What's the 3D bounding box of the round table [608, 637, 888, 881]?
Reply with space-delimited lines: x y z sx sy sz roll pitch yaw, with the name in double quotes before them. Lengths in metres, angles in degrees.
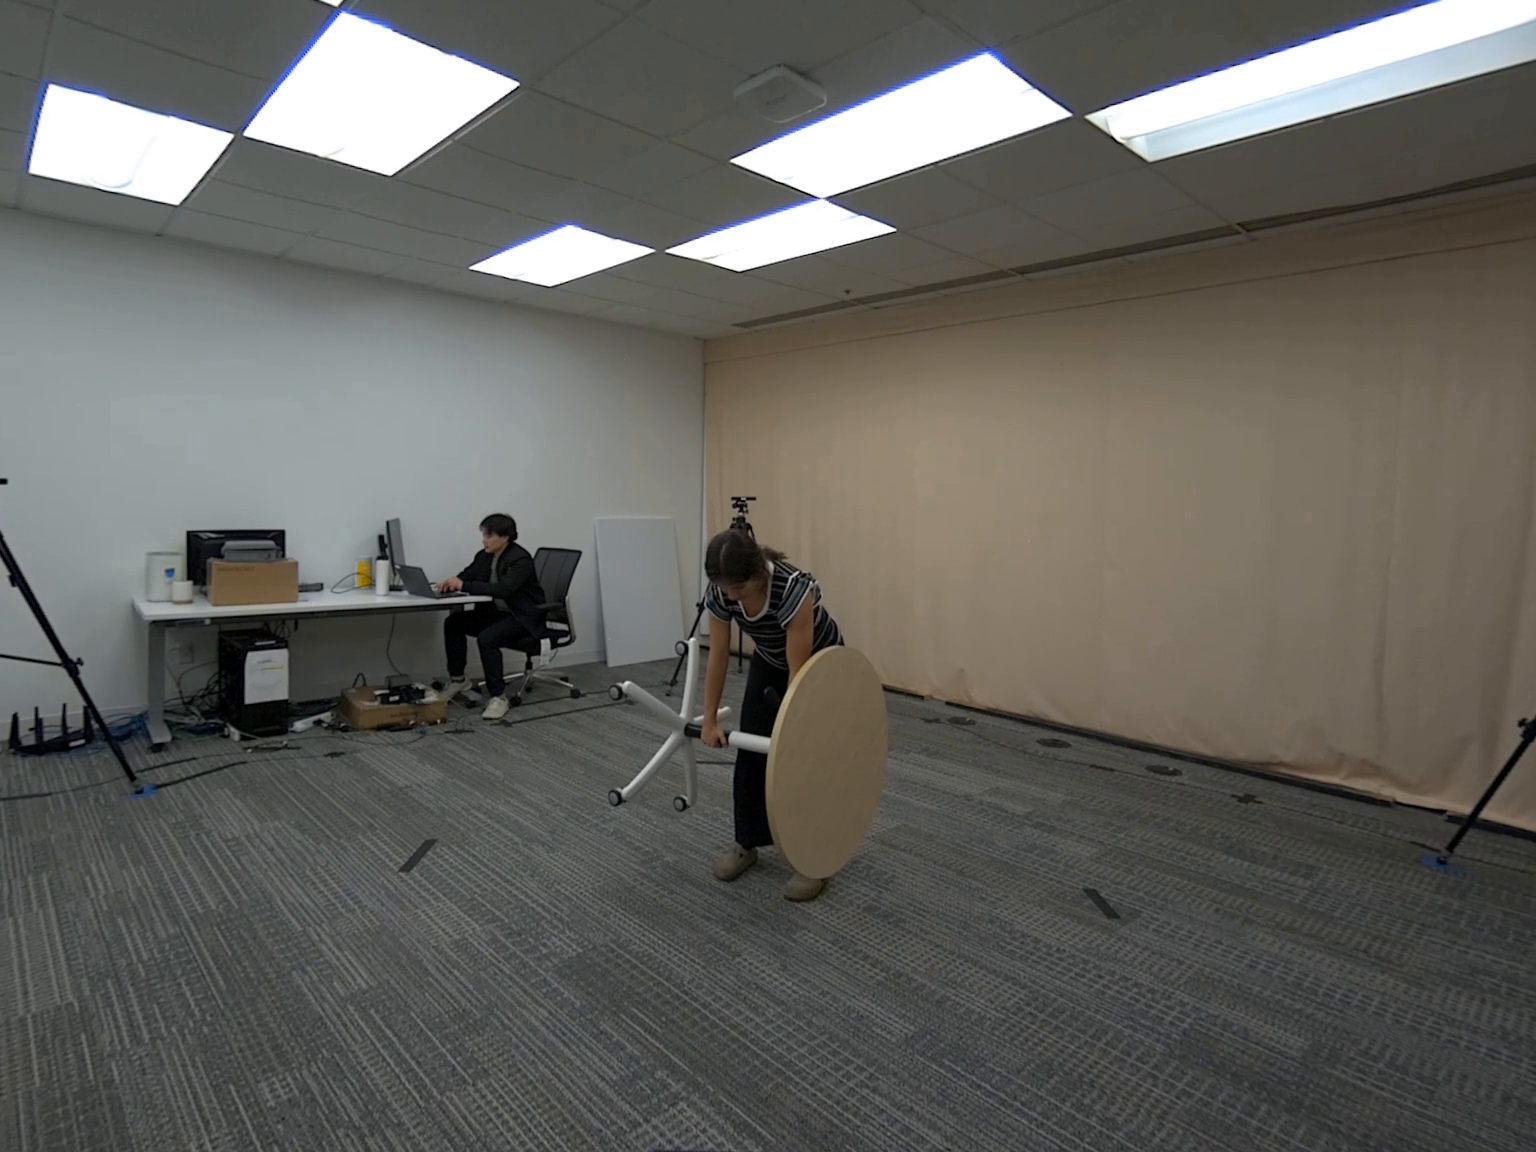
"round table" -0.103 0.612 3.078 0.812 0.763 0.747 2 3 36
